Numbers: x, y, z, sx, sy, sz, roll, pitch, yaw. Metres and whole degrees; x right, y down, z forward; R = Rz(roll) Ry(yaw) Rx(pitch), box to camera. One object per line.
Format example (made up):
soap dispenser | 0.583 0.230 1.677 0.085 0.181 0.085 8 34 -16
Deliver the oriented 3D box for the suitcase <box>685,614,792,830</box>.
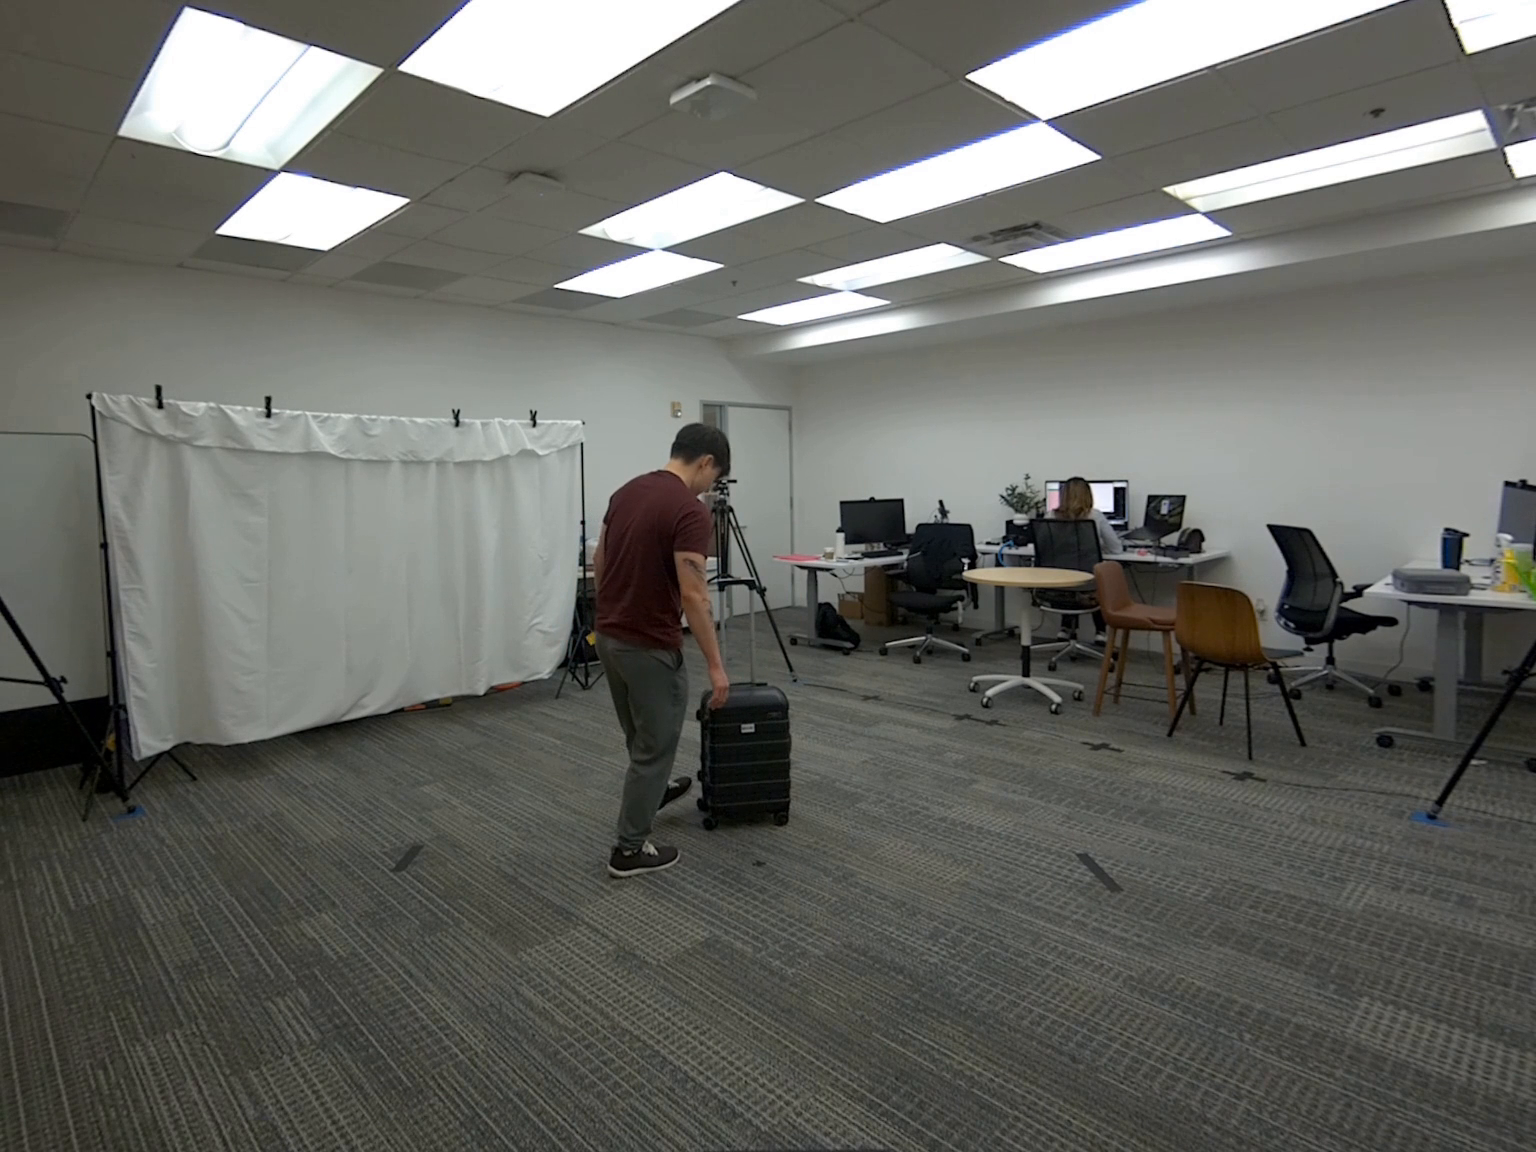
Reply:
suitcase | -0.096 0.524 3.523 0.381 0.975 0.260 -1 4 -10
